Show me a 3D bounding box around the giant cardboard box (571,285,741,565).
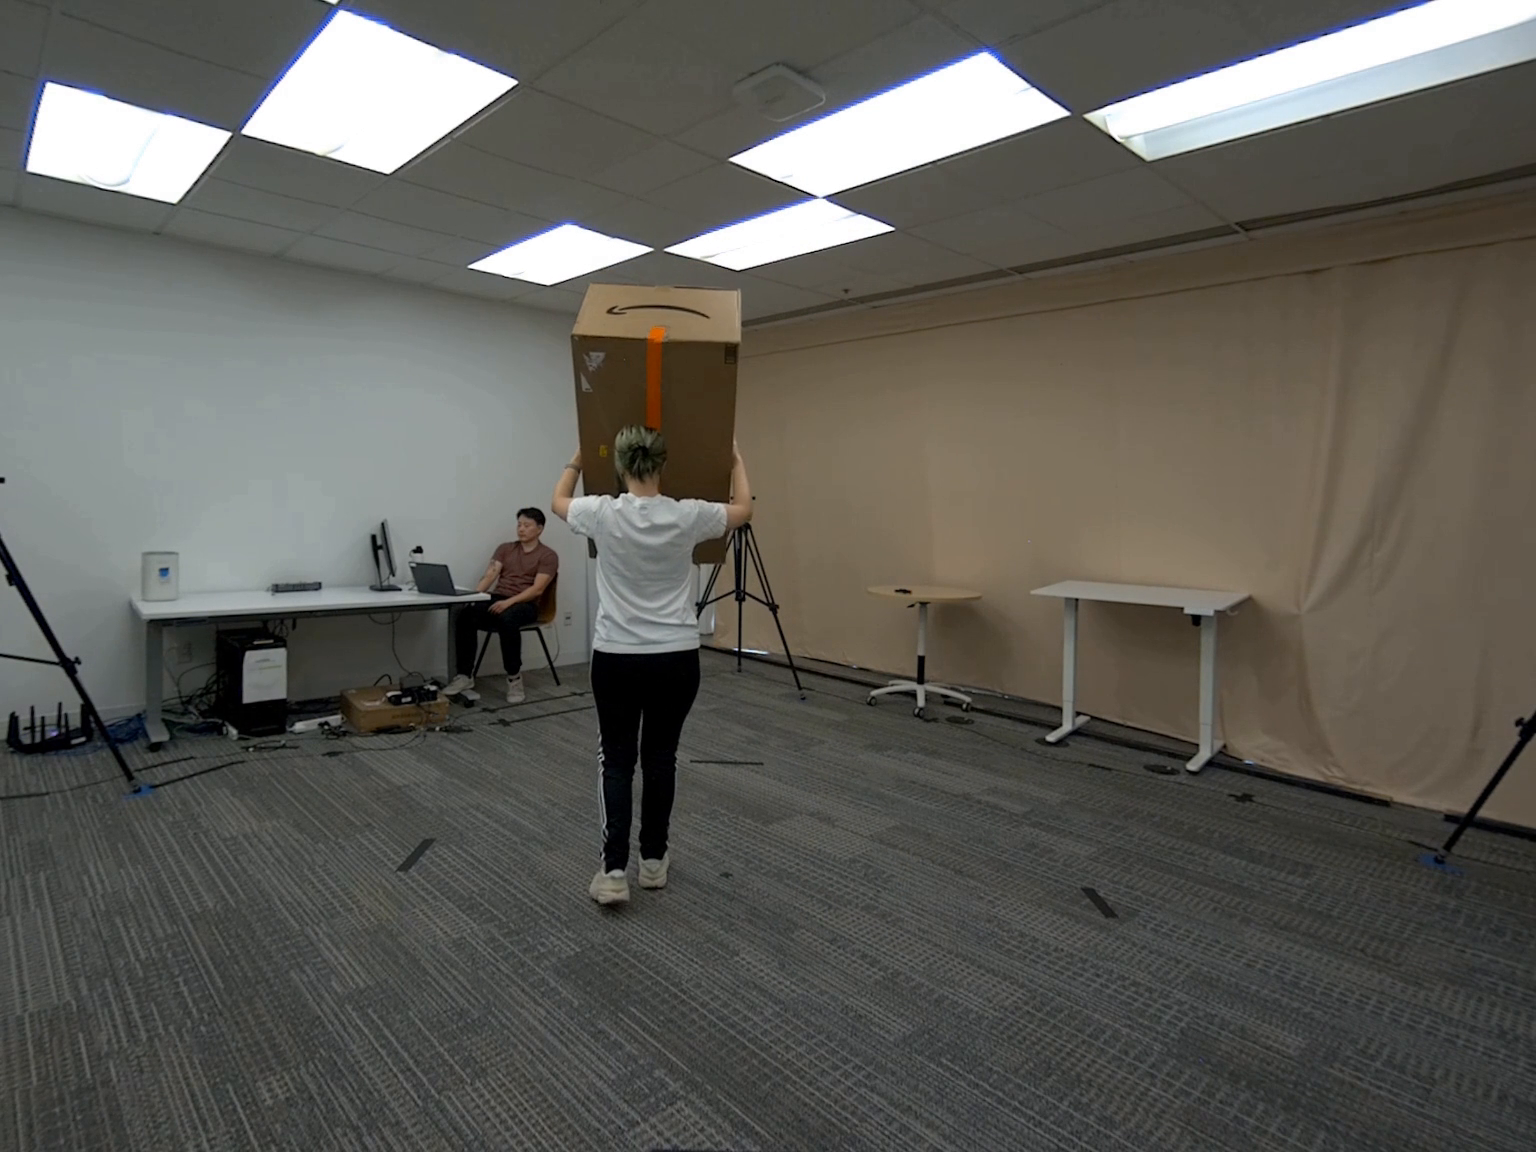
[{"bbox_3d":[-0.434,-0.567,3.333,0.582,1.007,0.457,3,41,-4],"label":"giant cardboard box"}]
